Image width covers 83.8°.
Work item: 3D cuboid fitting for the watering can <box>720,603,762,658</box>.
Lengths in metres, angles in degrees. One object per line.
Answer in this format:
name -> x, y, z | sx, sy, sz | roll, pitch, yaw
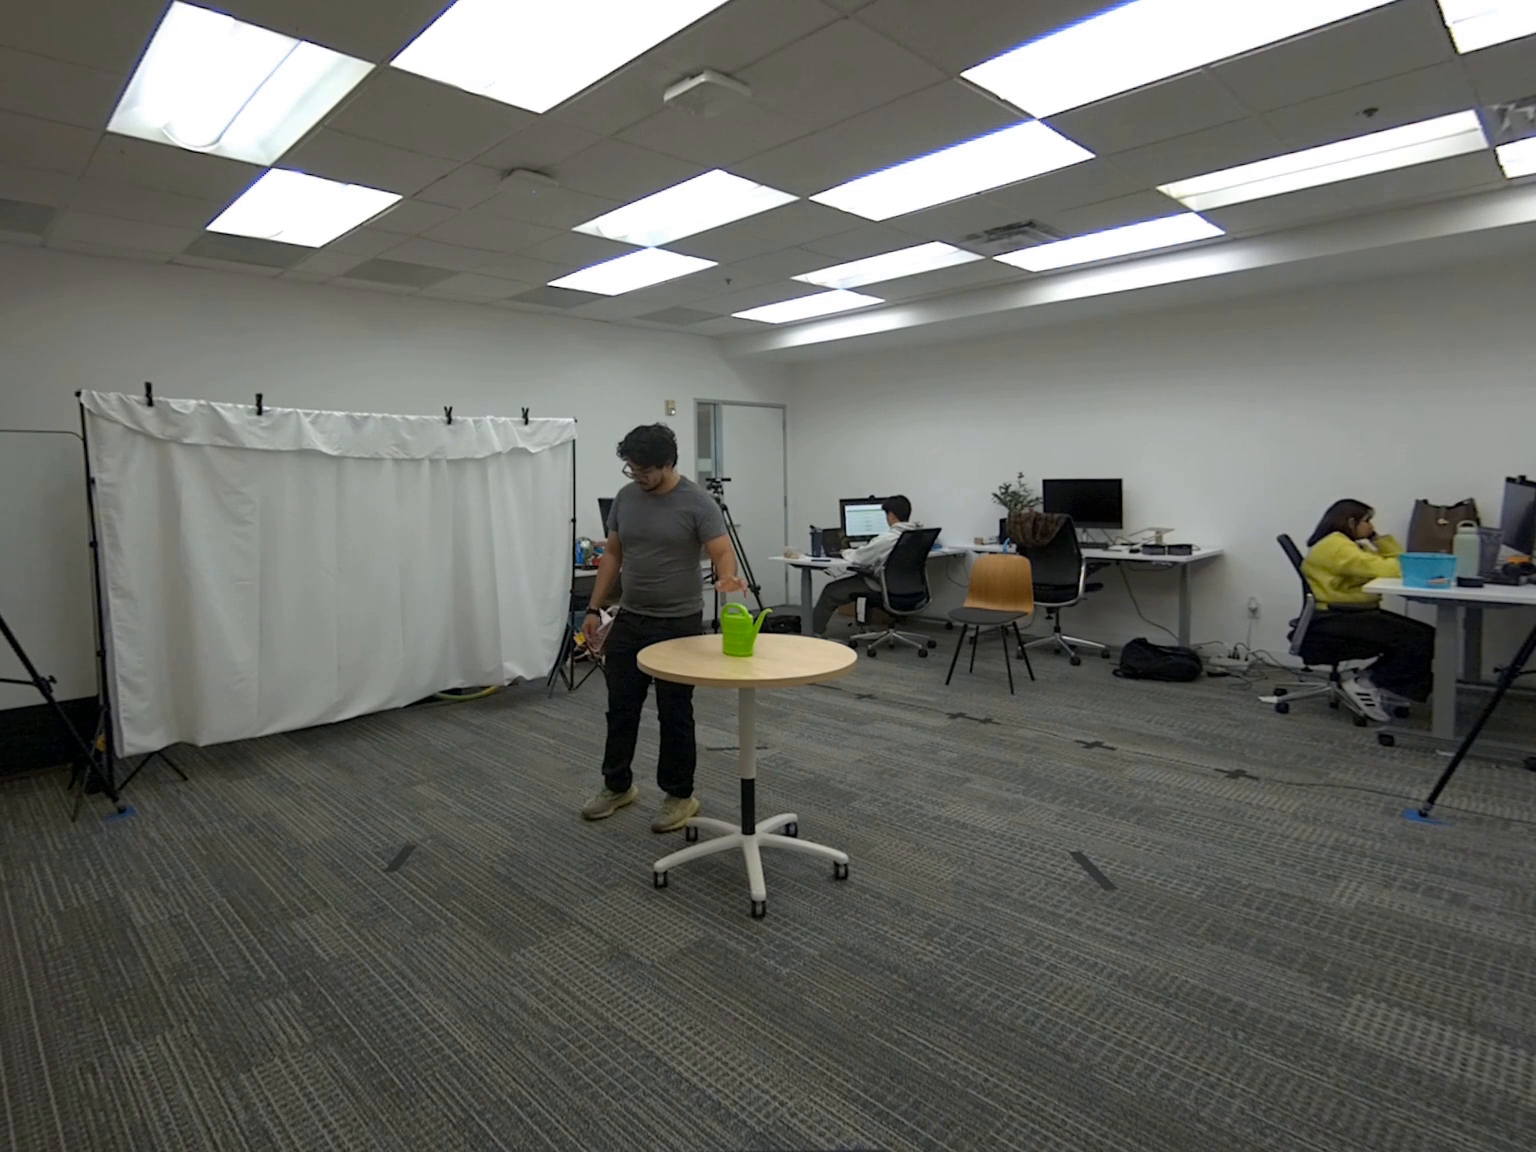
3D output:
watering can -> -0.082, 0.189, 2.946 | 0.096, 0.176, 0.284 | -2, 5, -22
